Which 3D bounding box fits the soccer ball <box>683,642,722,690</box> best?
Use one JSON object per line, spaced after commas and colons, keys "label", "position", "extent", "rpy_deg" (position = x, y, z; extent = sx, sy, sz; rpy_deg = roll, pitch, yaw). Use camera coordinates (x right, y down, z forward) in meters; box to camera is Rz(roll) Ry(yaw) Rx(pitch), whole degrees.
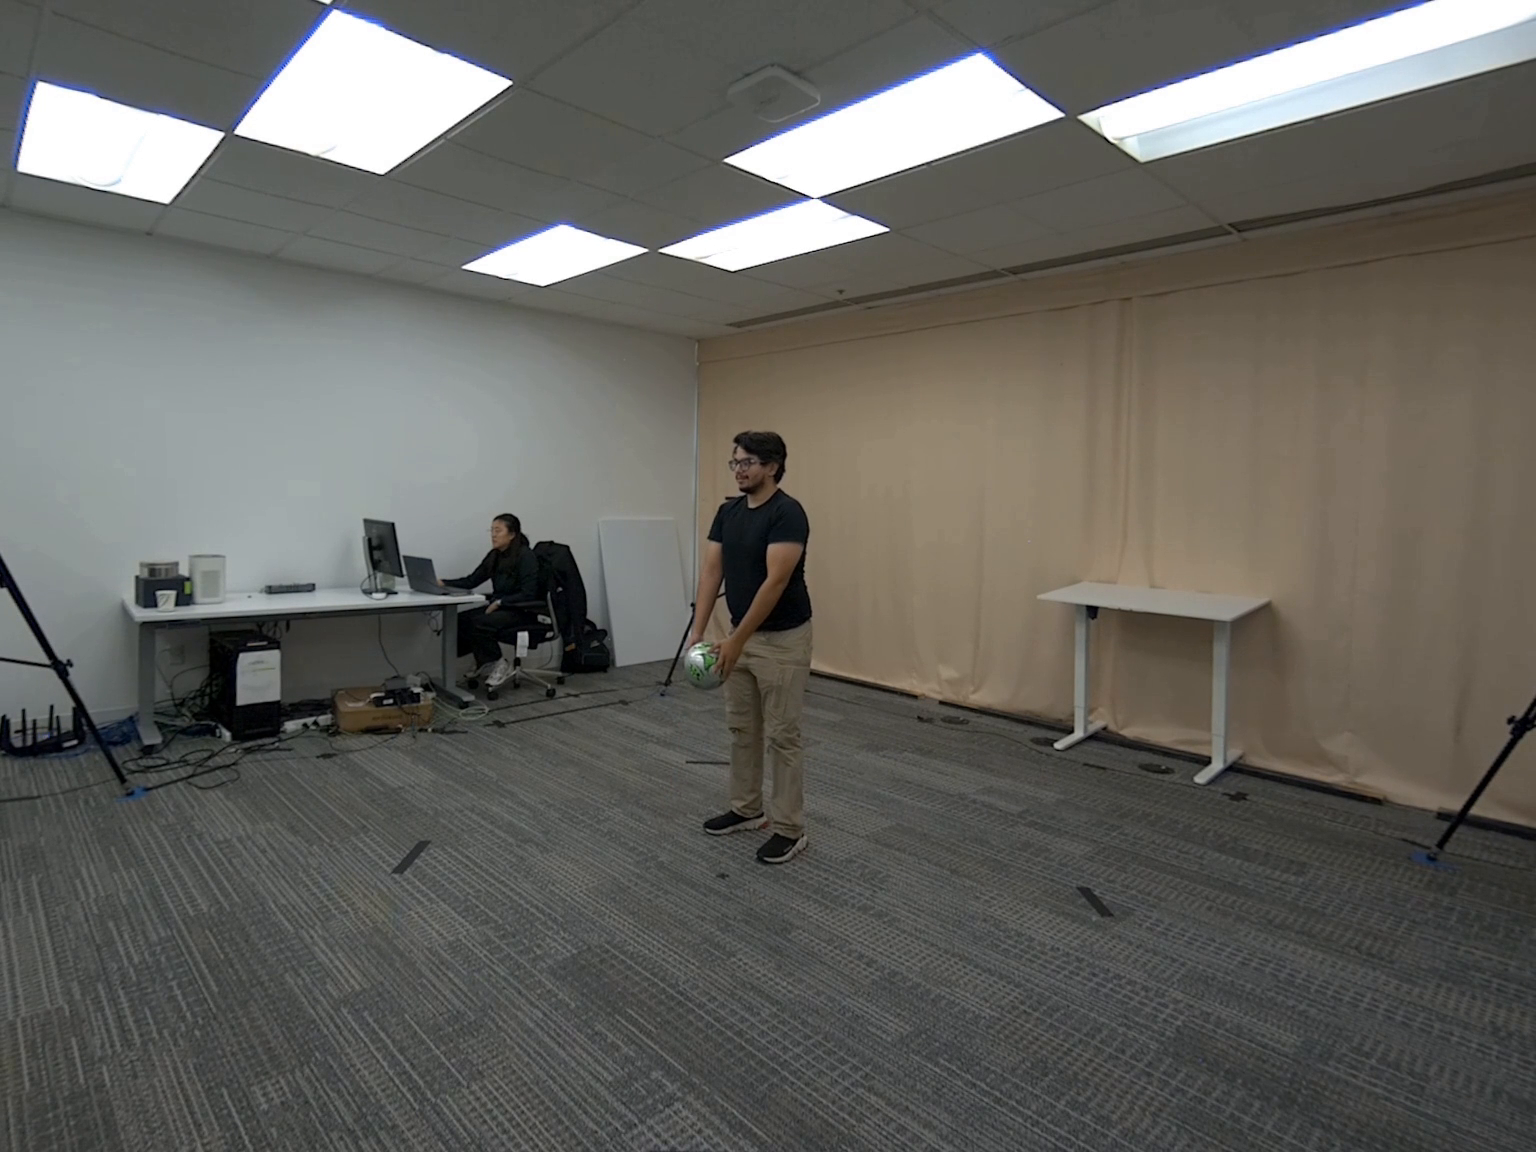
{"label": "soccer ball", "position": [-0.241, 0.348, 3.239], "extent": [0.187, 0.187, 0.188], "rpy_deg": [1, 4, -1]}
